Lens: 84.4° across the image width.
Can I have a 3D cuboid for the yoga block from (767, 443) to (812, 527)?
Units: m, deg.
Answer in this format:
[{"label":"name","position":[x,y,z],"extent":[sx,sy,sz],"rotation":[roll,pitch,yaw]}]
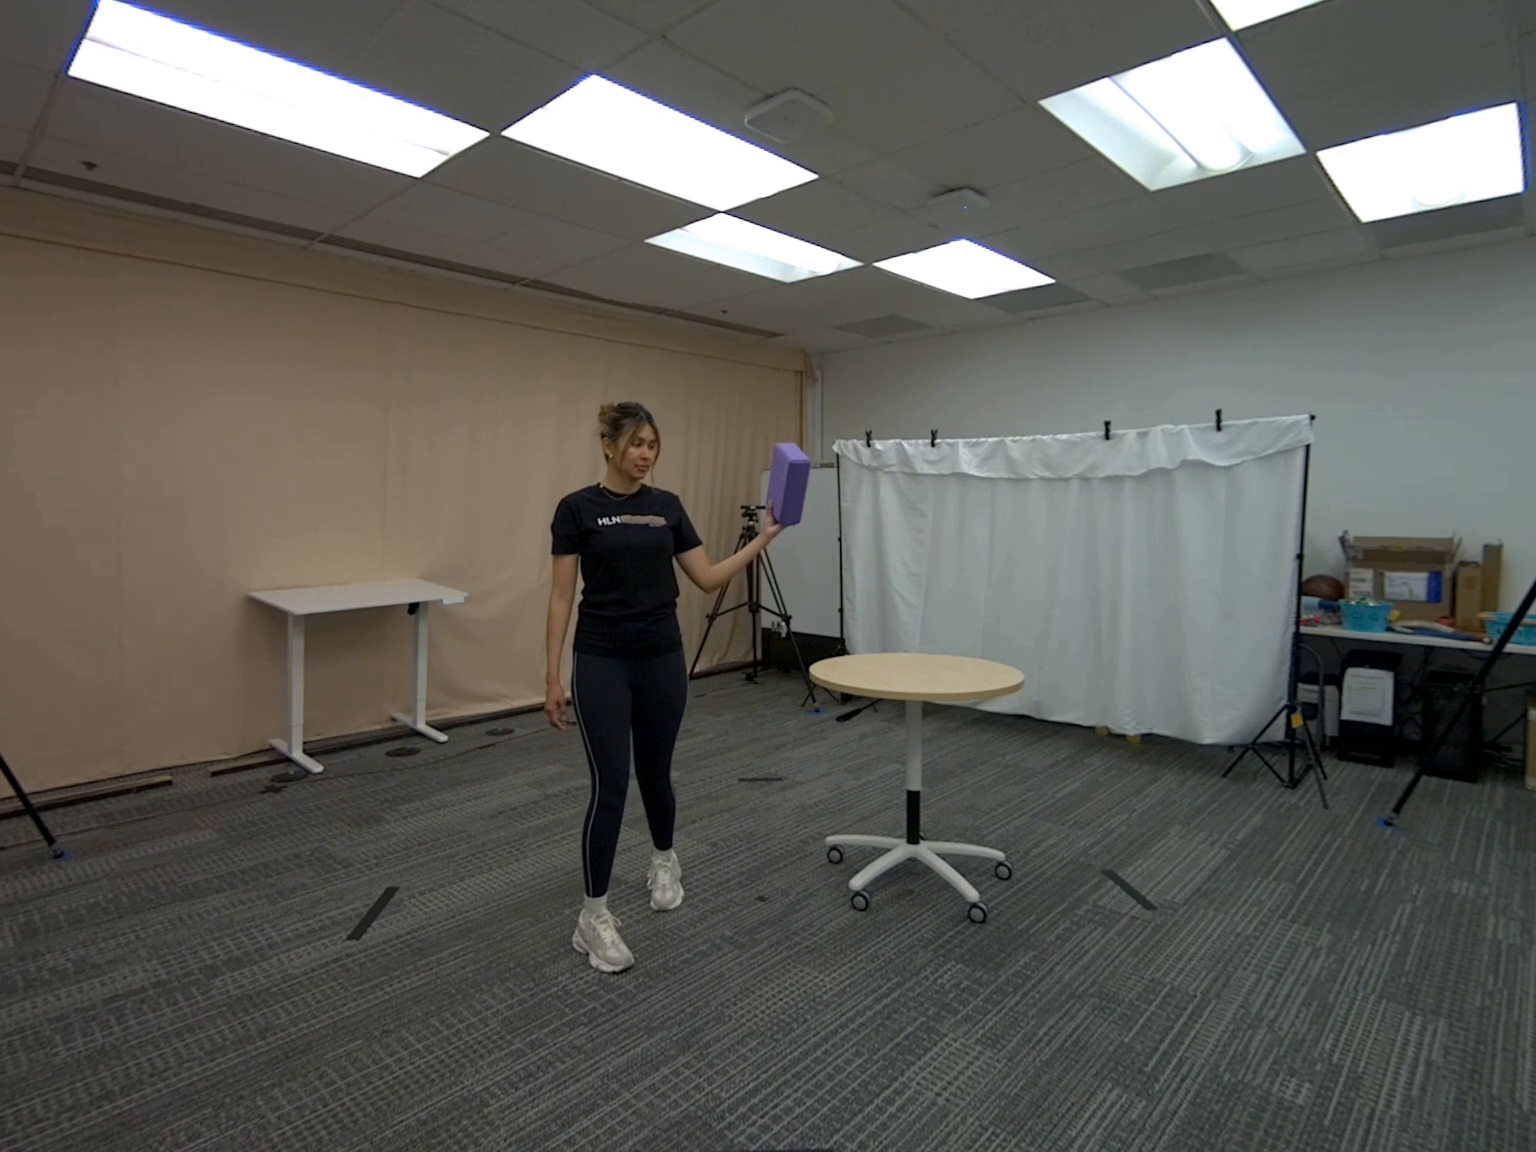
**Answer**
[{"label":"yoga block","position":[0.050,-0.300,2.725],"extent":[0.075,0.227,0.152],"rotation":[7,28,-12]}]
